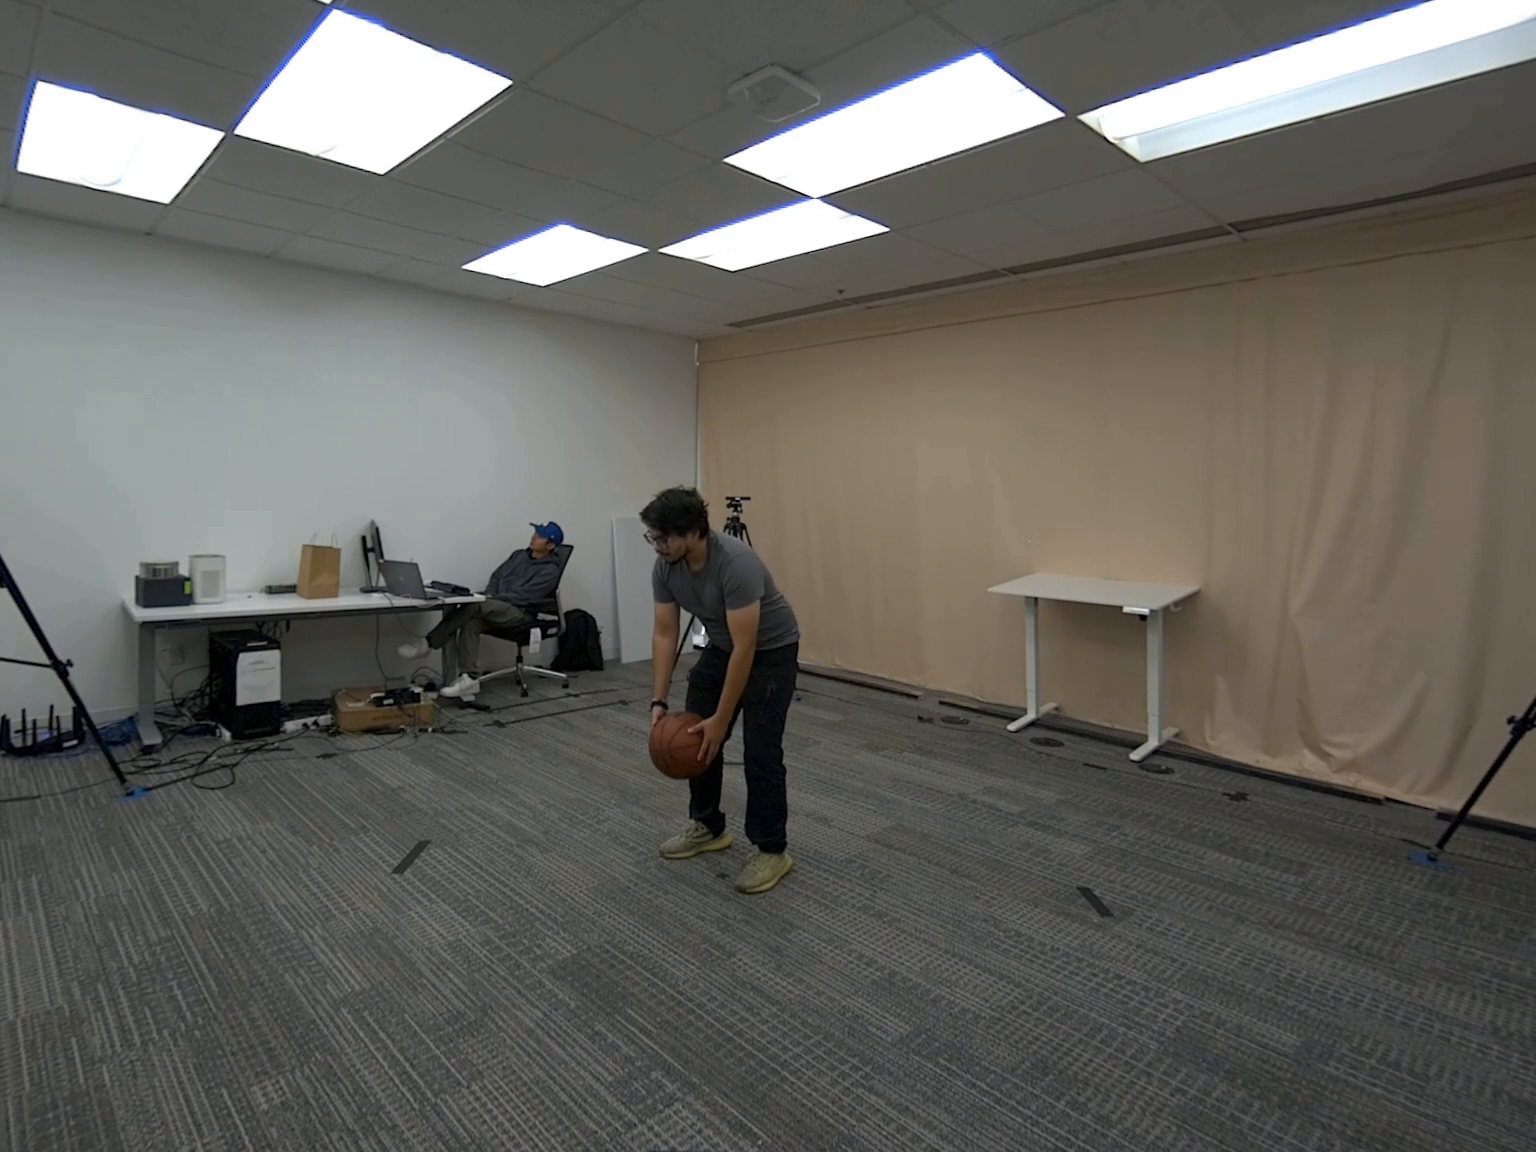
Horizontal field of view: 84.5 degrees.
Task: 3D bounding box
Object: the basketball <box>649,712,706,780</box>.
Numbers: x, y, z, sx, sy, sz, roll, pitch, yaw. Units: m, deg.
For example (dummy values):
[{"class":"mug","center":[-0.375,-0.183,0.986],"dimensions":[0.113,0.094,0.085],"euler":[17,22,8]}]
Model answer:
[{"class":"basketball","center":[-0.316,0.594,3.009],"dimensions":[0.236,0.235,0.237],"euler":[1,4,-1]}]
